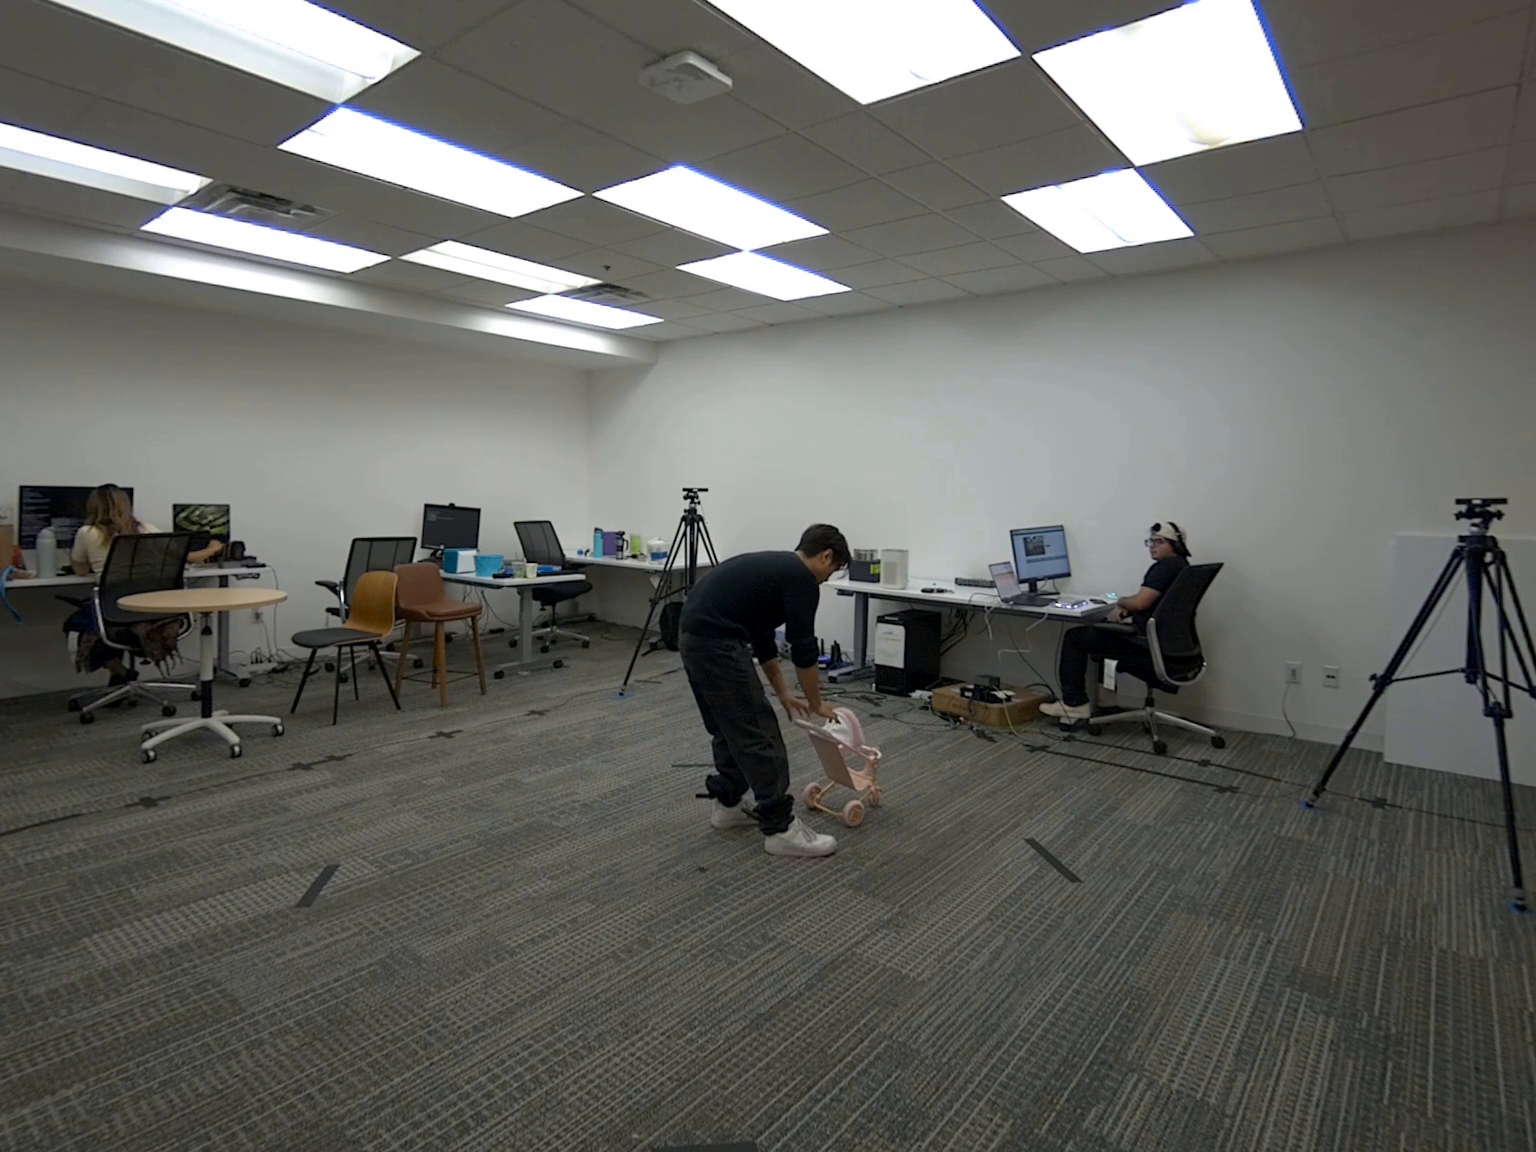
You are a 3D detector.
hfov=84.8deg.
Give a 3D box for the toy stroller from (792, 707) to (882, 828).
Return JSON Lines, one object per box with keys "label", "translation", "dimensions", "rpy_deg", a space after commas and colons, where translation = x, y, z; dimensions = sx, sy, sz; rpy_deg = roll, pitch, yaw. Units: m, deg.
{"label": "toy stroller", "translation": [0.324, 0.805, 3.668], "dimensions": [0.335, 0.528, 0.290], "rpy_deg": [-20, 14, -31]}
